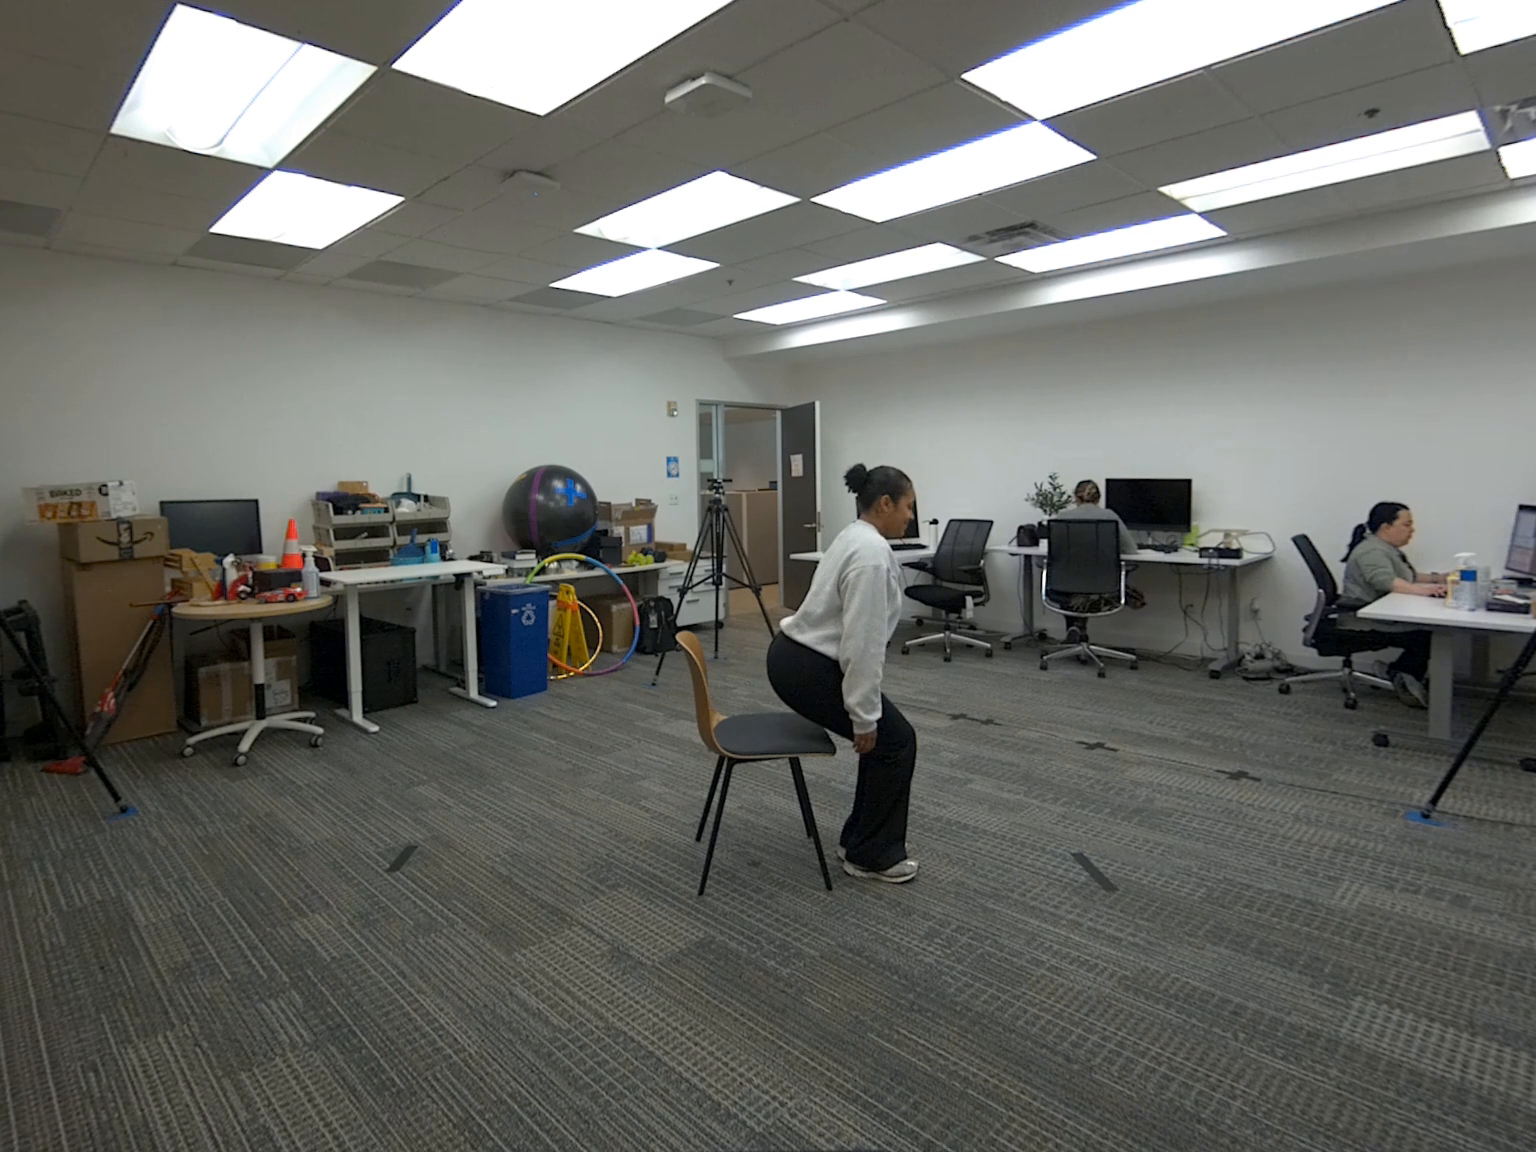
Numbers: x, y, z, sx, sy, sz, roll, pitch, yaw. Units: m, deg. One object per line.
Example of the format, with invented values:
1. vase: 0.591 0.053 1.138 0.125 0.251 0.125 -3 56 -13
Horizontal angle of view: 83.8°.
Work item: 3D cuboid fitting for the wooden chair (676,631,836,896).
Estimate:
1. wooden chair: -0.029 0.617 3.069 0.521 0.874 0.482 -5 4 -5
